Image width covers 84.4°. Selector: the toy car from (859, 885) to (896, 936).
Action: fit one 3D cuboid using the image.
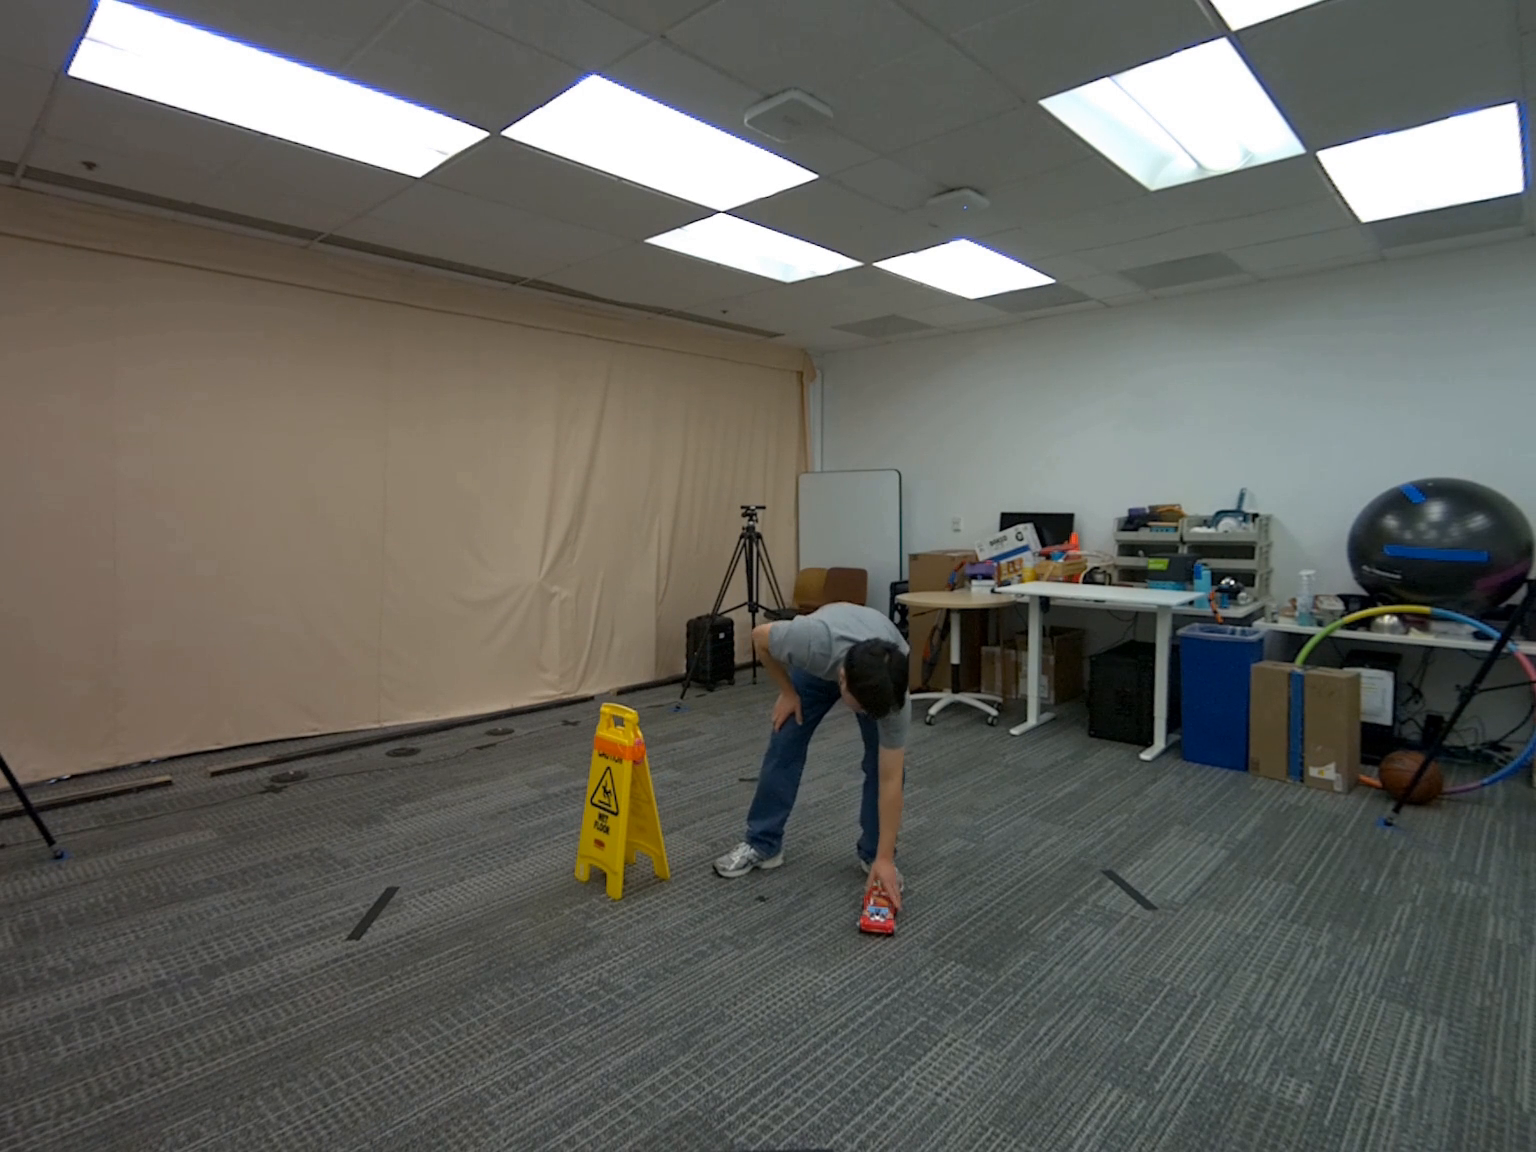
[{"bbox_3d":[0.379,1.125,2.821,0.132,0.082,0.253,2,15,12],"label":"toy car"}]
